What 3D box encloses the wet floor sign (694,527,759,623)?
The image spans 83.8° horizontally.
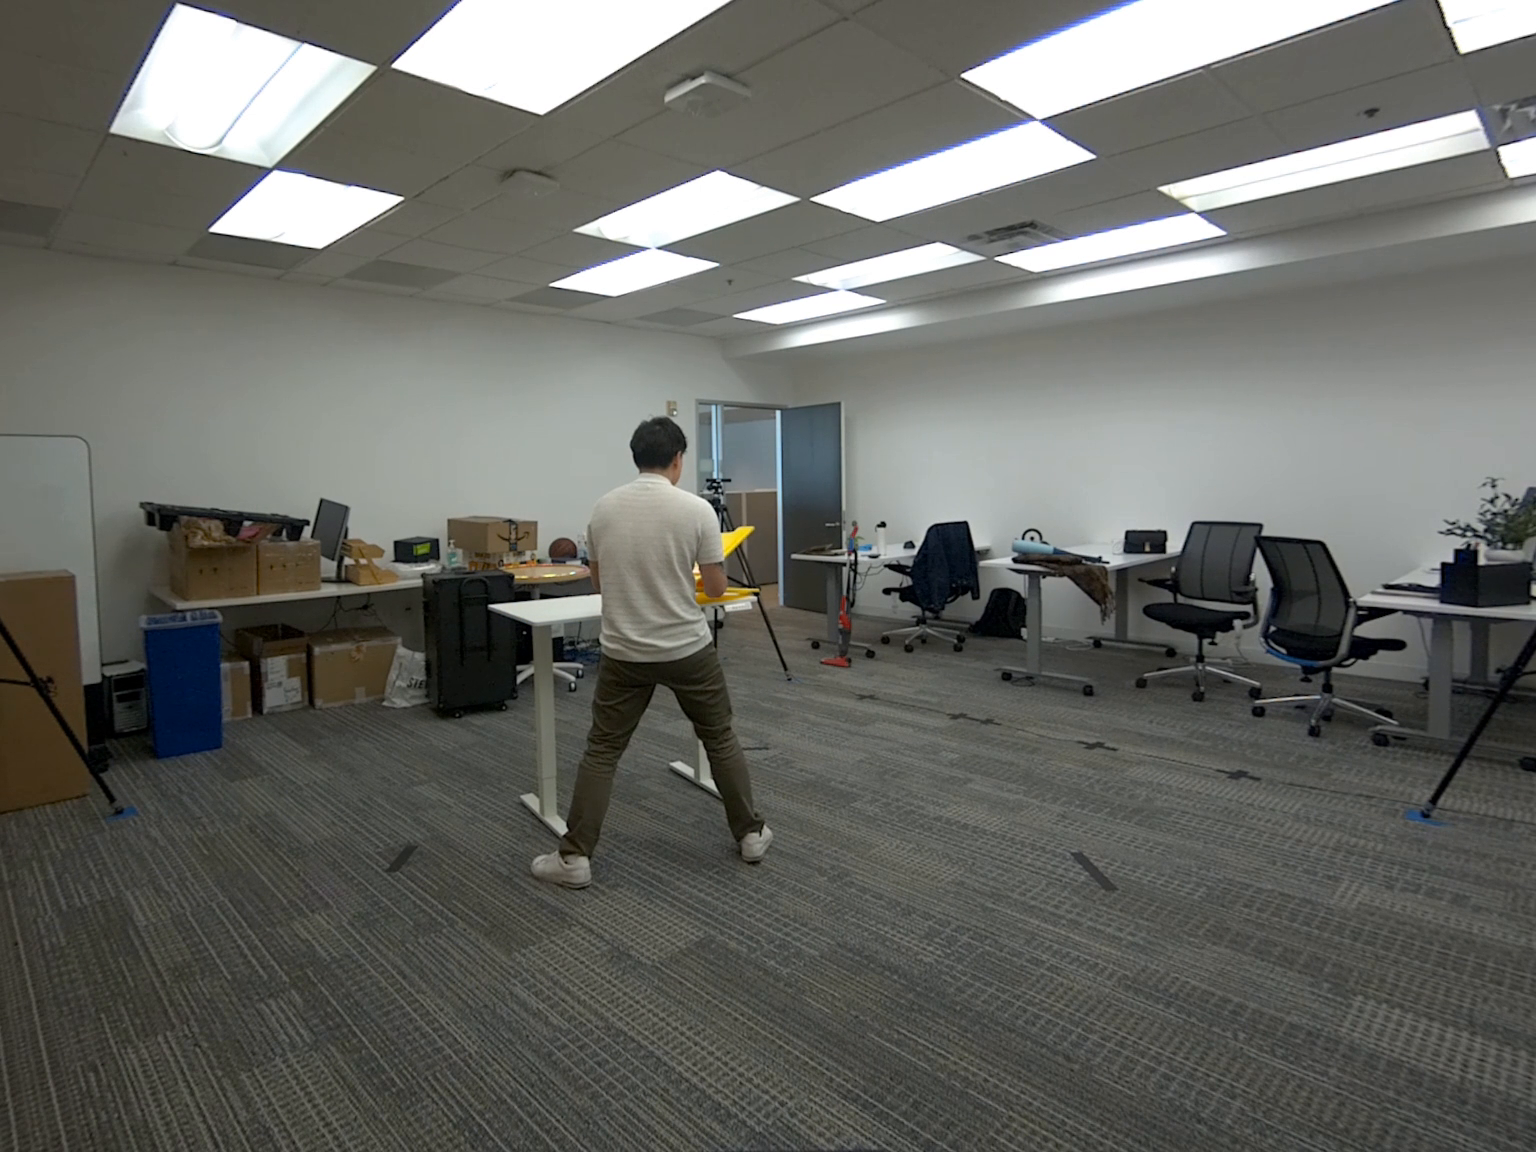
[{"bbox_3d":[-0.285,-0.018,3.578,0.287,0.287,0.639,-1,10,19],"label":"wet floor sign"}]
